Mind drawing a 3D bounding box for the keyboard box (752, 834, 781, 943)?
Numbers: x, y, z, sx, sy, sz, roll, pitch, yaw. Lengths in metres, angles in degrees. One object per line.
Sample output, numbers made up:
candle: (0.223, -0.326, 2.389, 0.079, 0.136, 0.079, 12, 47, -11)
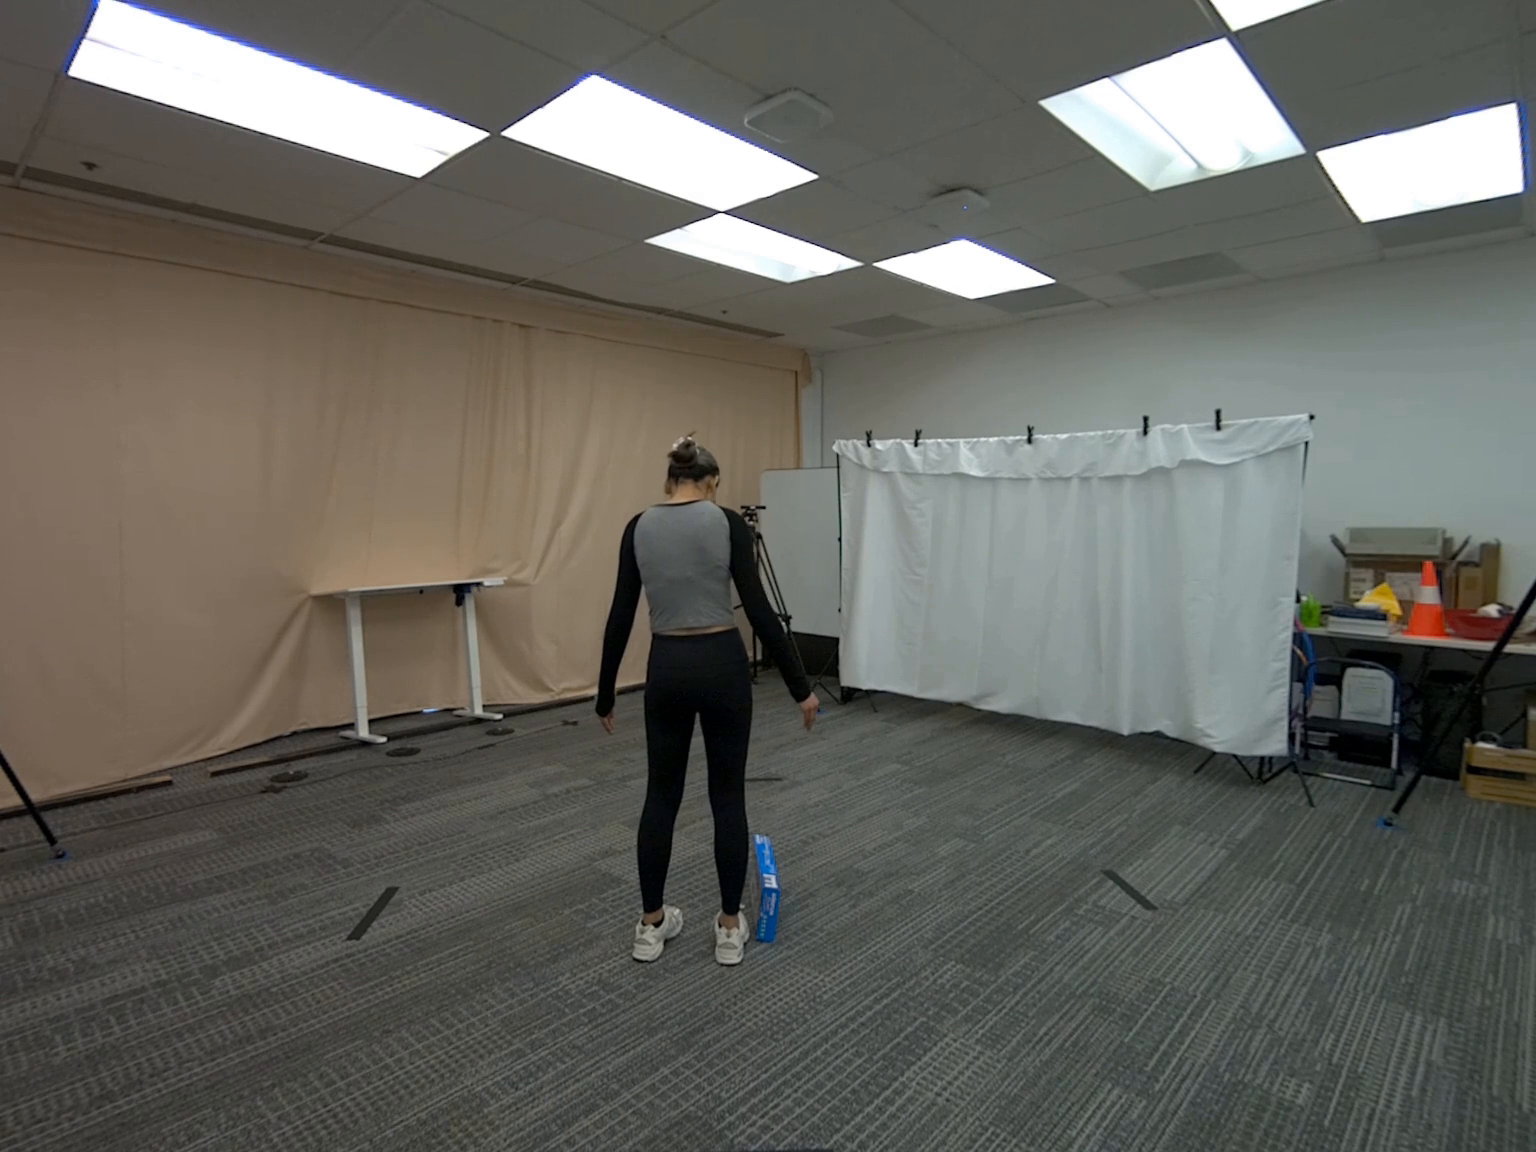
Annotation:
keyboard box: (-0.015, 1.058, 2.899, 0.059, 0.176, 0.439, 6, 4, -5)
